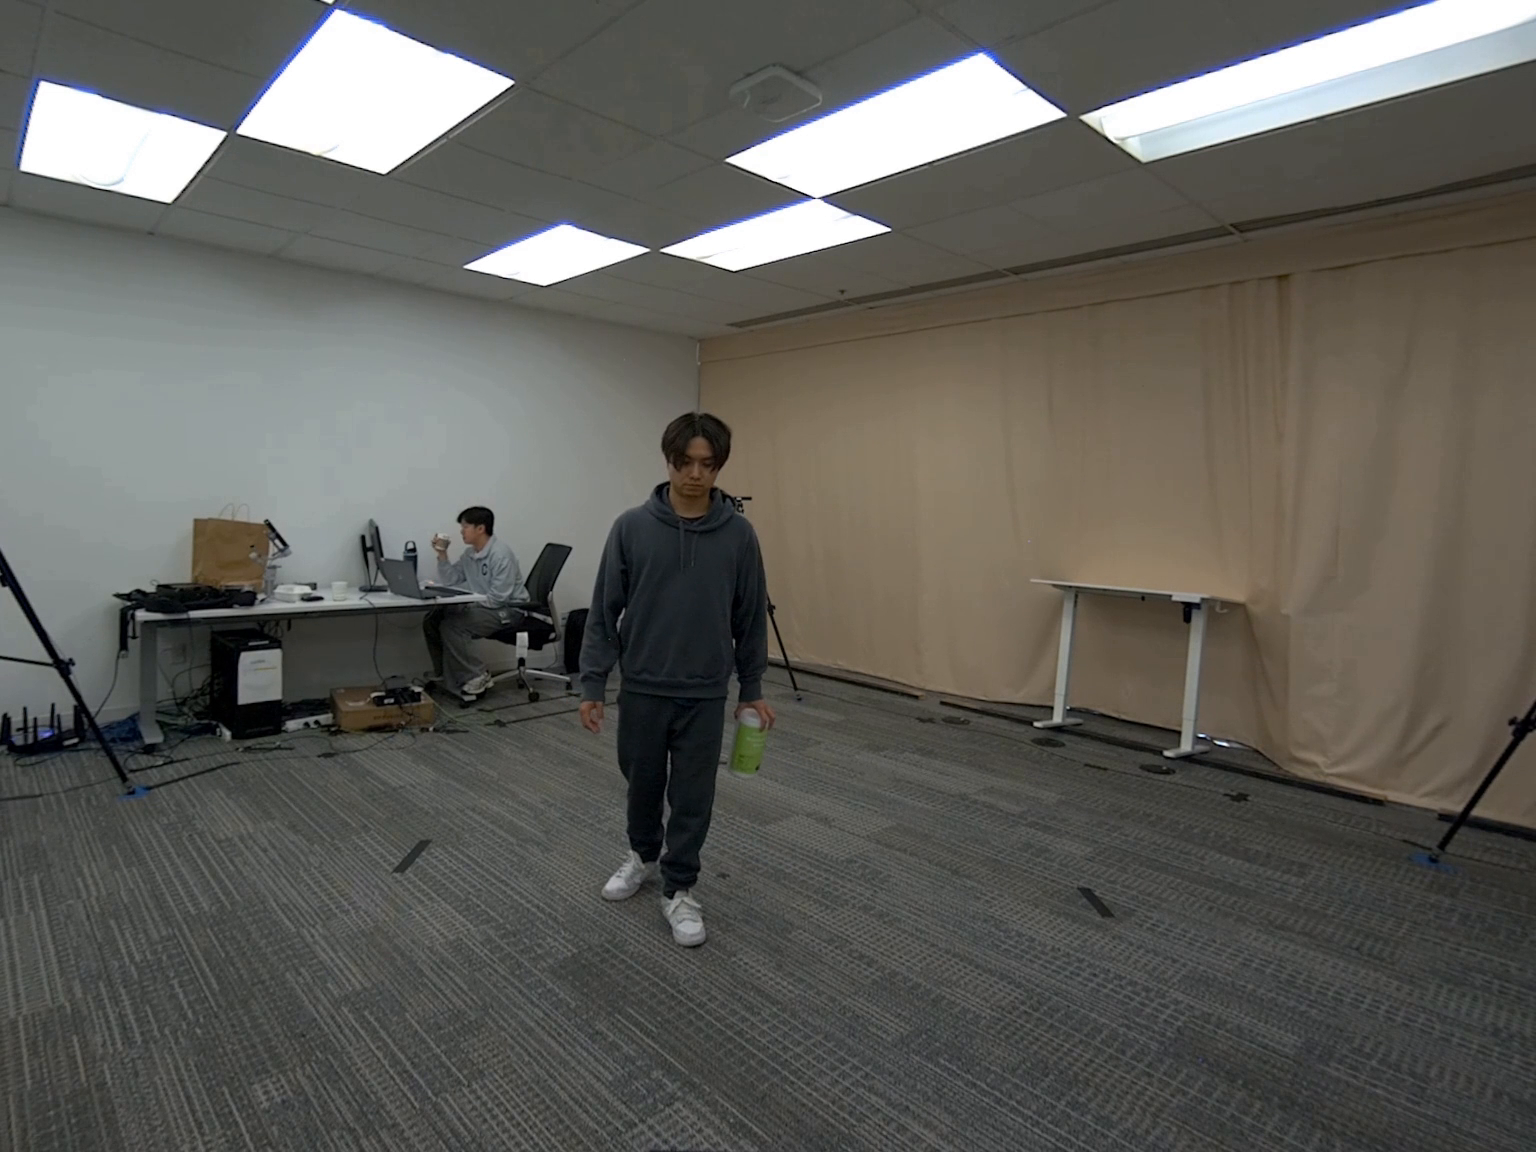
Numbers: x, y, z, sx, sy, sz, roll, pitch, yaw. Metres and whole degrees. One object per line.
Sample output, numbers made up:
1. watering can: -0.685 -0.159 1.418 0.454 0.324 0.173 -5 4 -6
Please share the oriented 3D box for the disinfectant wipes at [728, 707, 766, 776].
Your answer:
1. disinfectant wipes: -0.085 0.558 2.782 0.117 0.216 0.119 11 13 -4
